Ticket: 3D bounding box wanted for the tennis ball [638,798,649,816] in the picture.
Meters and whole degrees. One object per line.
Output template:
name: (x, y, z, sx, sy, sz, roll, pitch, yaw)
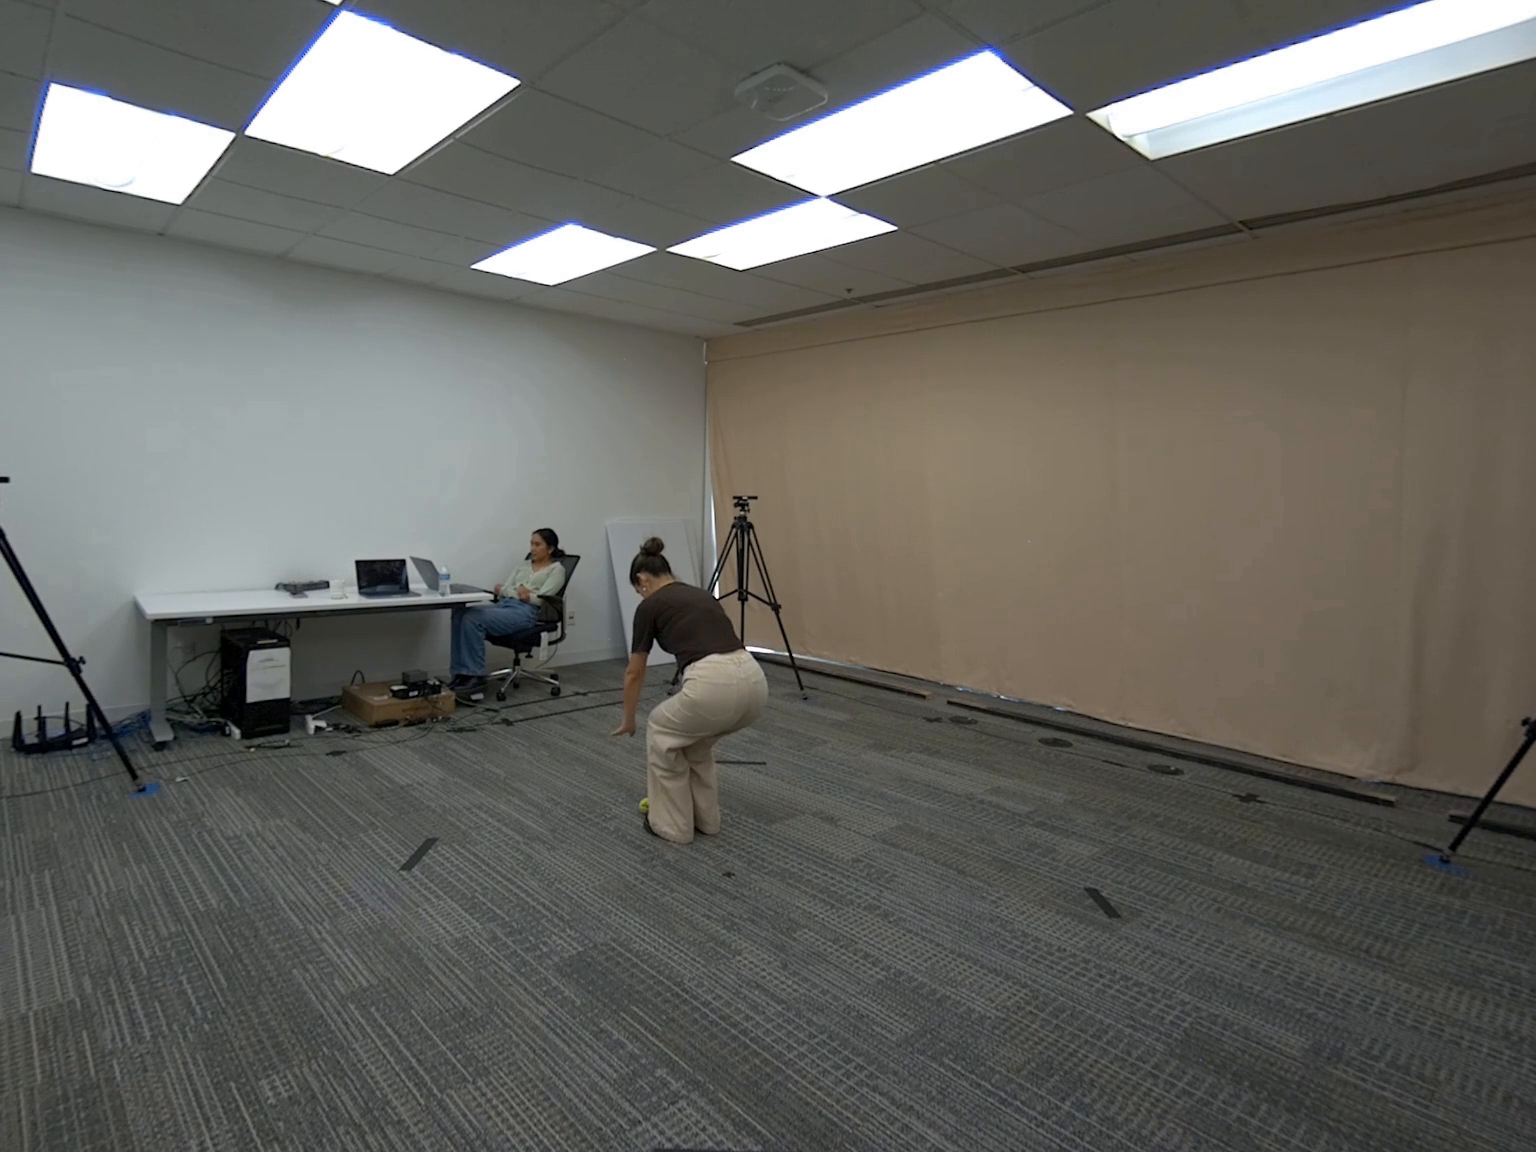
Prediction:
tennis ball: (-0.535, 0.996, 3.680, 0.066, 0.066, 0.067, 1, 4, -1)
